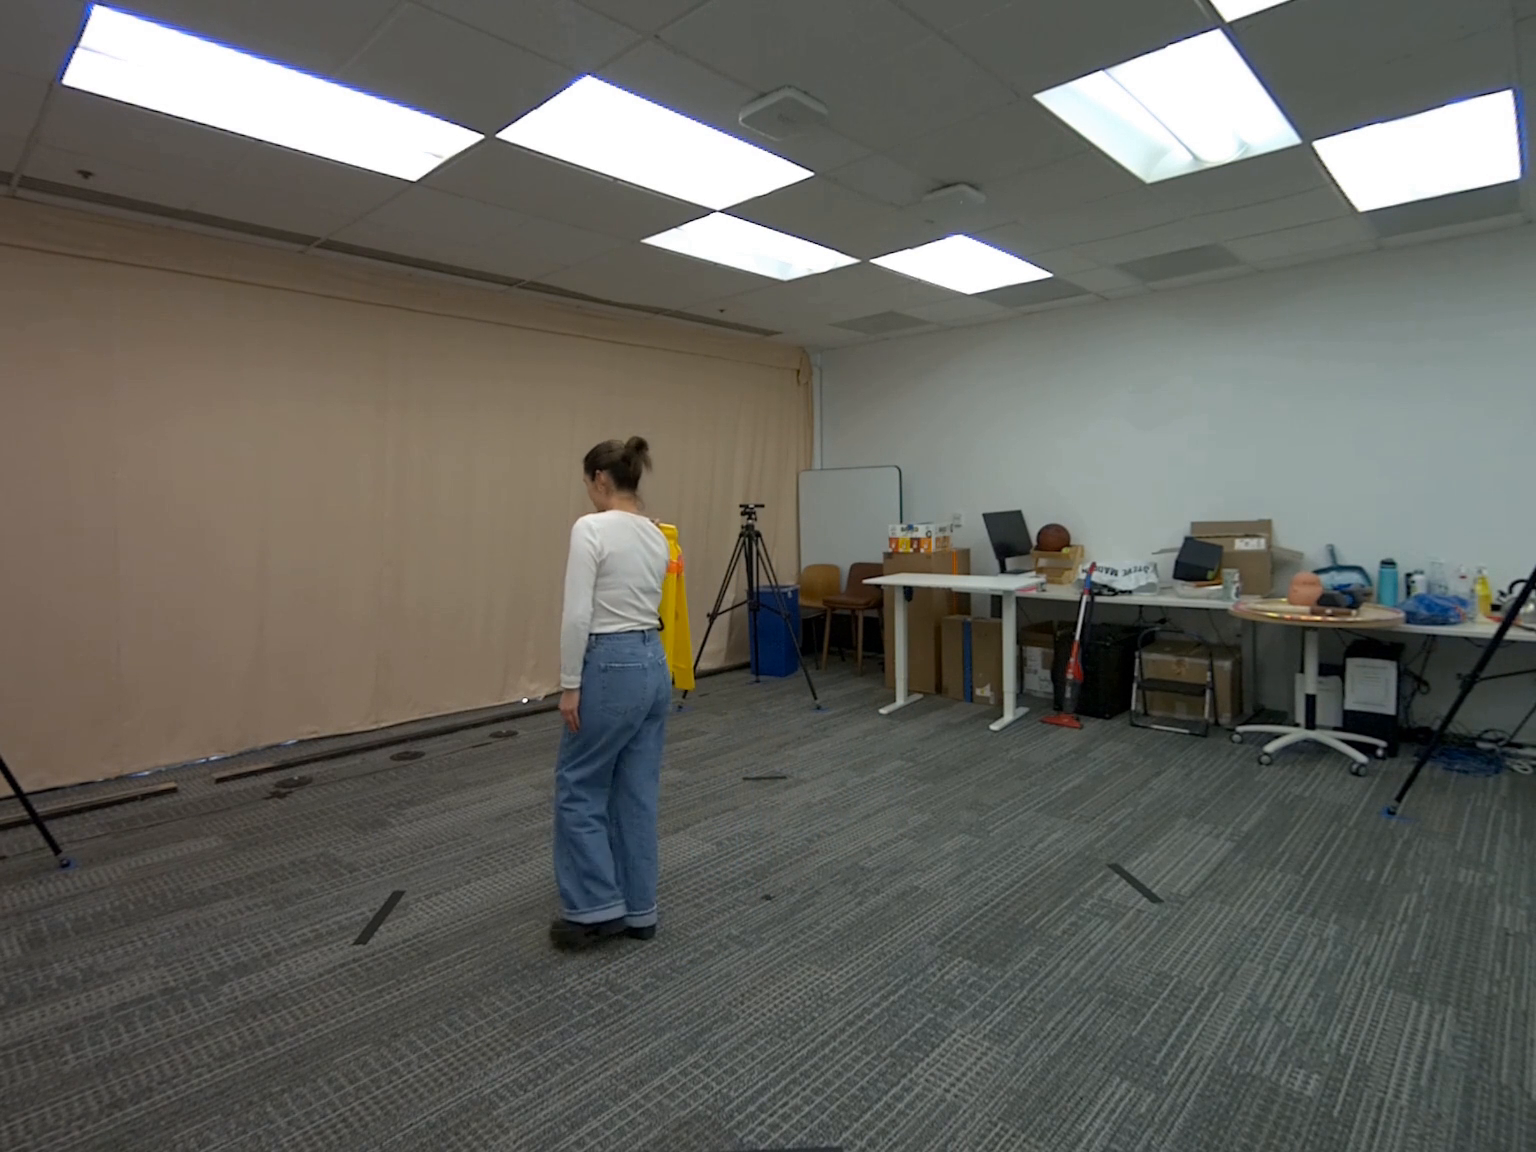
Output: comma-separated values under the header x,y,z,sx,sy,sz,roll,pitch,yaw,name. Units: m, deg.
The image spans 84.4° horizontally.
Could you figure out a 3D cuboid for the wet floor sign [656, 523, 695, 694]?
x,y,z,sx,sy,sz,roll,pitch,yaw,name
-0.440,0.128,3.076,0.288,0.642,0.286,4,9,16,wet floor sign
